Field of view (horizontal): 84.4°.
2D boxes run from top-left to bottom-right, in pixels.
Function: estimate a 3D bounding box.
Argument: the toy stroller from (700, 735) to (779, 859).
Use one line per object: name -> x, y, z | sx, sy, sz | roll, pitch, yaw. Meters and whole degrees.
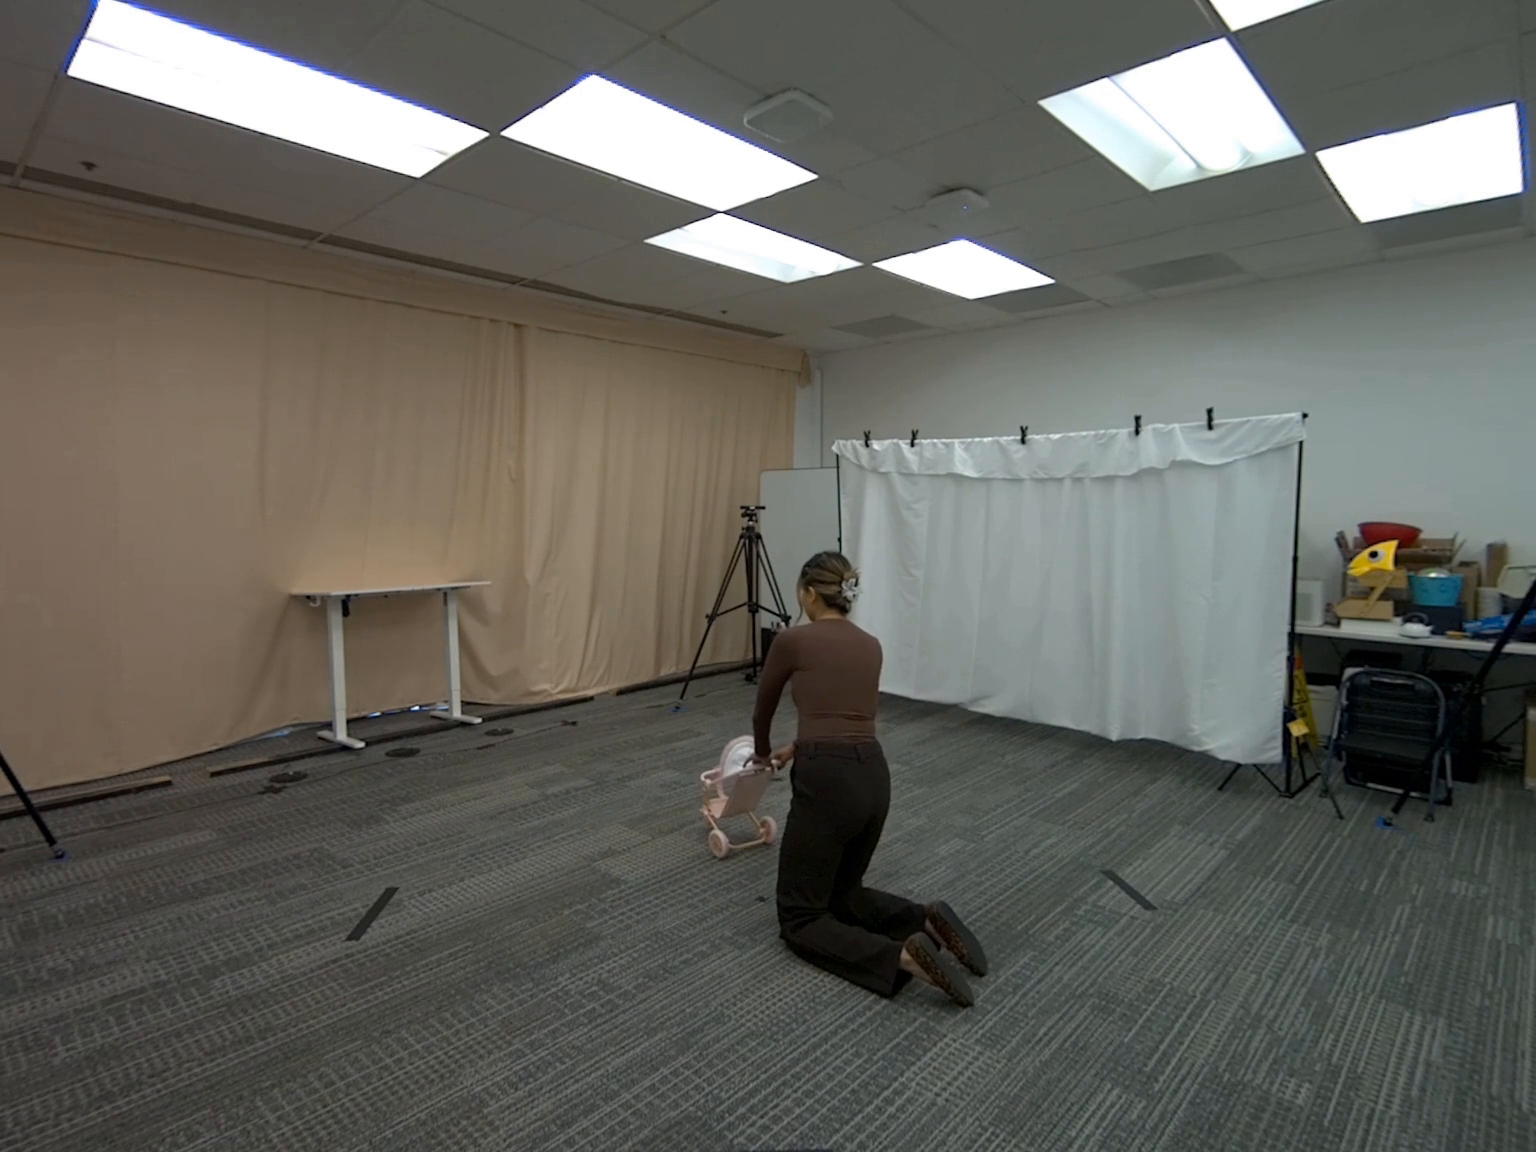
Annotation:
toy stroller -> -0.121, 0.877, 3.433 | 0.273, 0.531, 0.354 | -1, 24, -33
